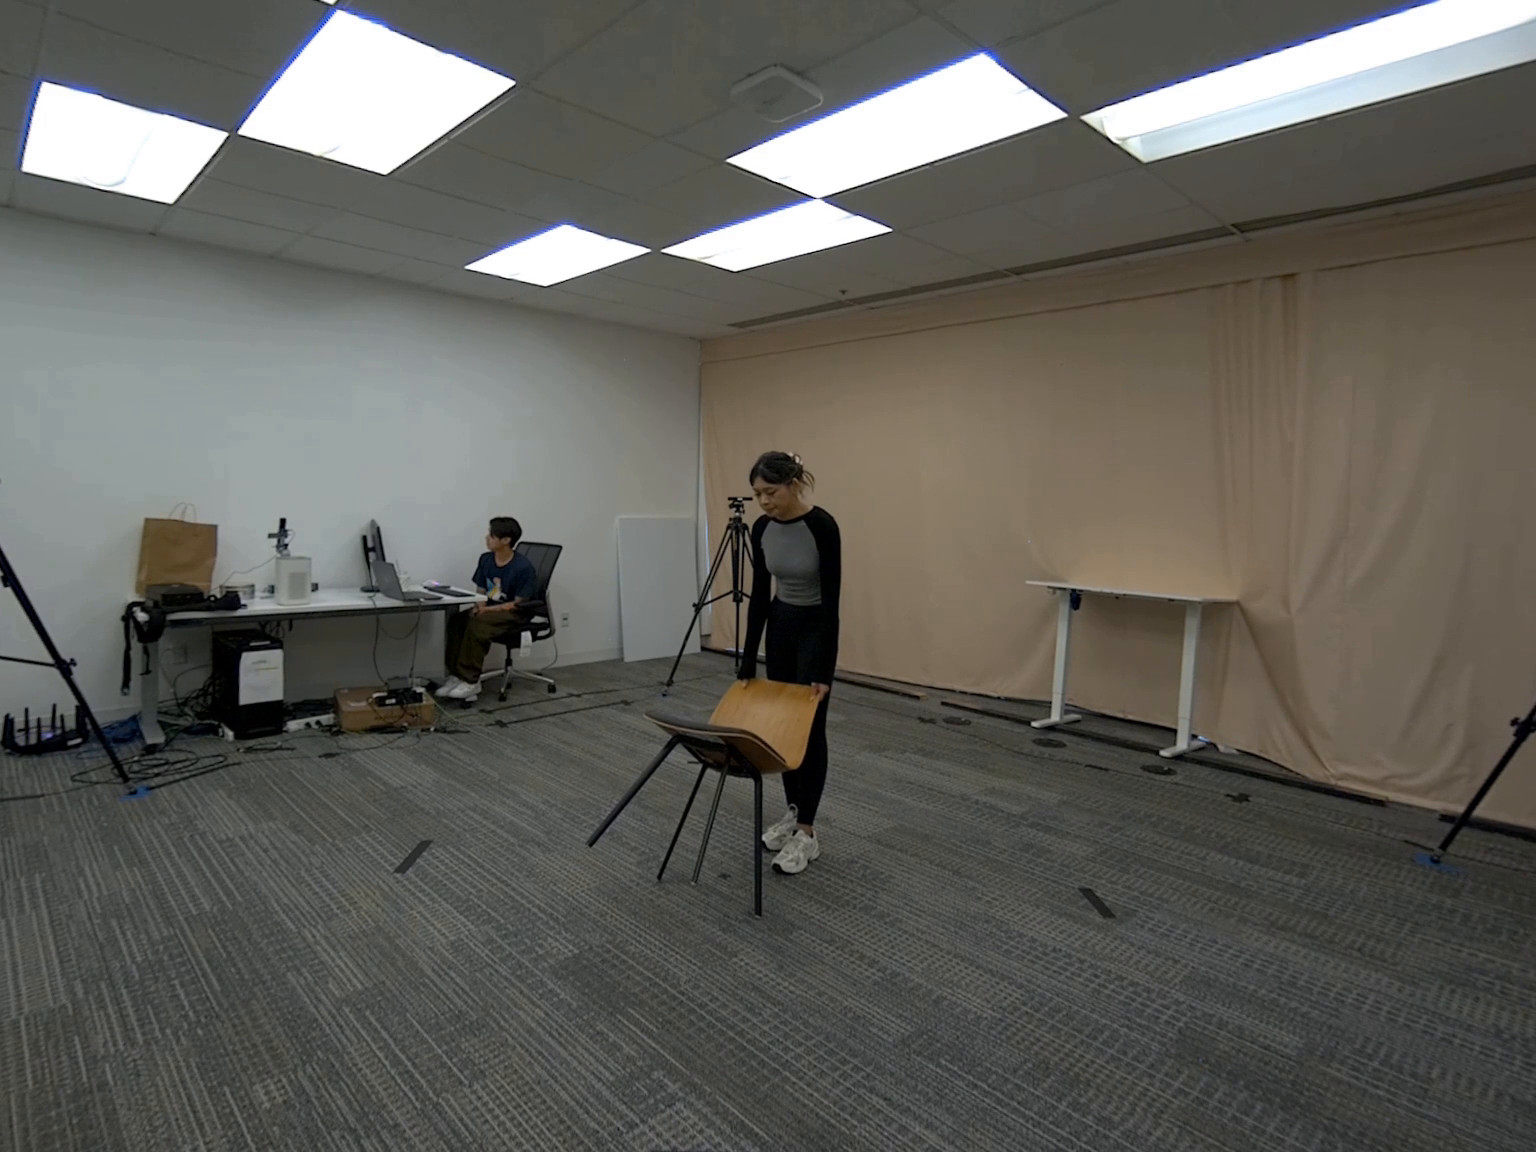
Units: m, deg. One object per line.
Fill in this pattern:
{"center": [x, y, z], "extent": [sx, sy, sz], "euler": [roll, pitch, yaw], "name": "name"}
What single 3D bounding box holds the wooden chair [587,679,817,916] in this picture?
{"center": [-0.183, 0.639, 2.932], "extent": [0.489, 0.884, 0.506], "euler": [3, -34, 34], "name": "wooden chair"}
